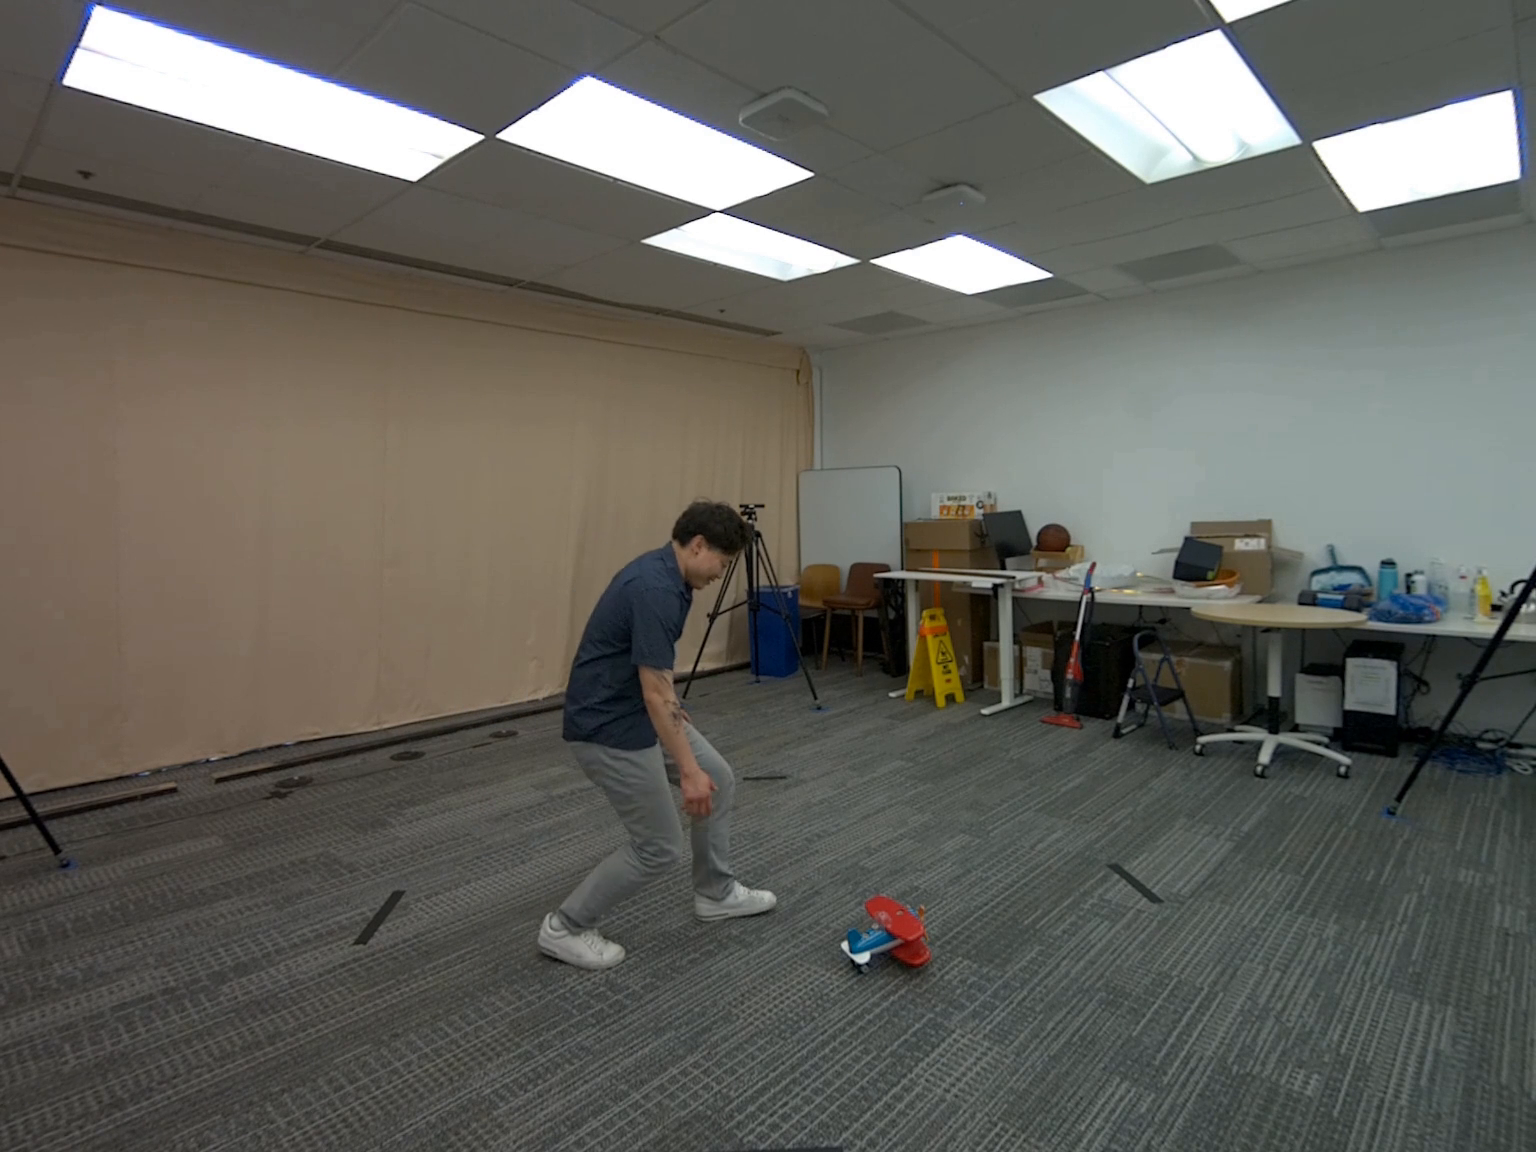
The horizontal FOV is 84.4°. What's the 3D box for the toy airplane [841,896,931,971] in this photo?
[{"bbox_3d":[0.370,1.099,2.519,0.259,0.156,0.251,3,4,40],"label":"toy airplane"}]
